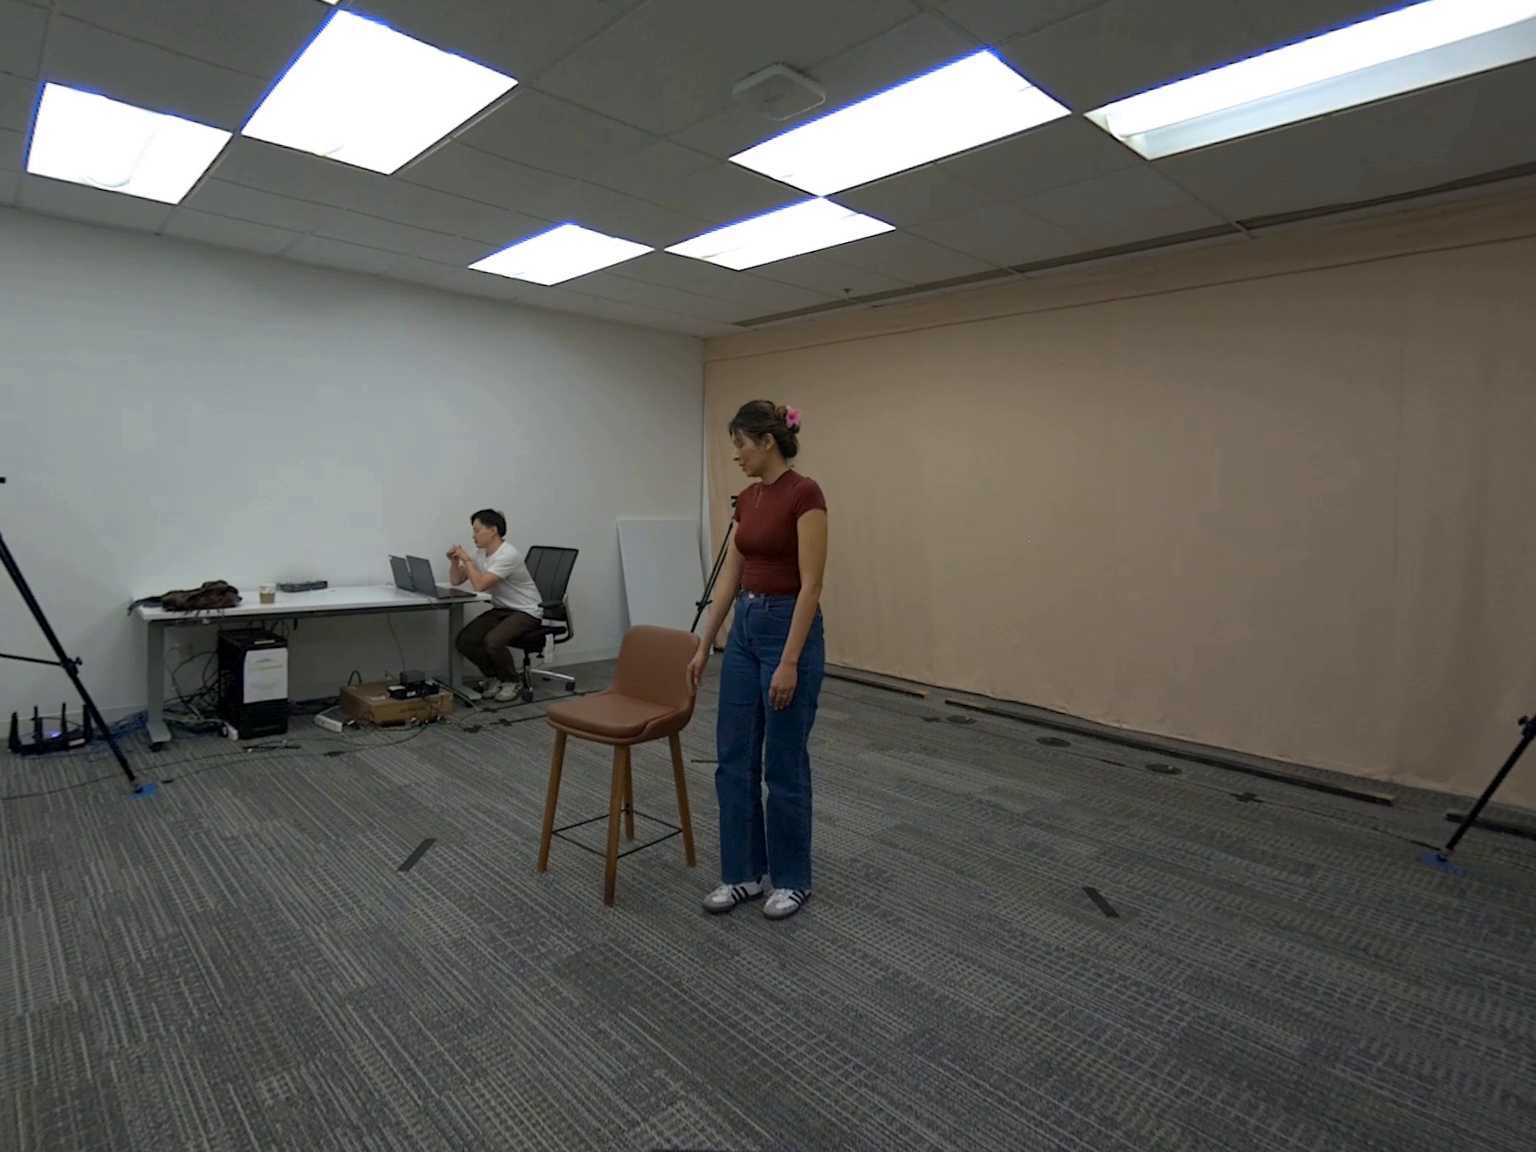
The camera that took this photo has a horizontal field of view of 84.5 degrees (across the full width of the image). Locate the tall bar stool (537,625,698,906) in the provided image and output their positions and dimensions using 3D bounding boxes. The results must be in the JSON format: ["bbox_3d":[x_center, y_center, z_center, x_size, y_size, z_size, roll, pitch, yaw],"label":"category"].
[{"bbox_3d":[-0.551,0.662,3.117,0.468,0.888,0.457,4,3,41],"label":"tall bar stool"}]
